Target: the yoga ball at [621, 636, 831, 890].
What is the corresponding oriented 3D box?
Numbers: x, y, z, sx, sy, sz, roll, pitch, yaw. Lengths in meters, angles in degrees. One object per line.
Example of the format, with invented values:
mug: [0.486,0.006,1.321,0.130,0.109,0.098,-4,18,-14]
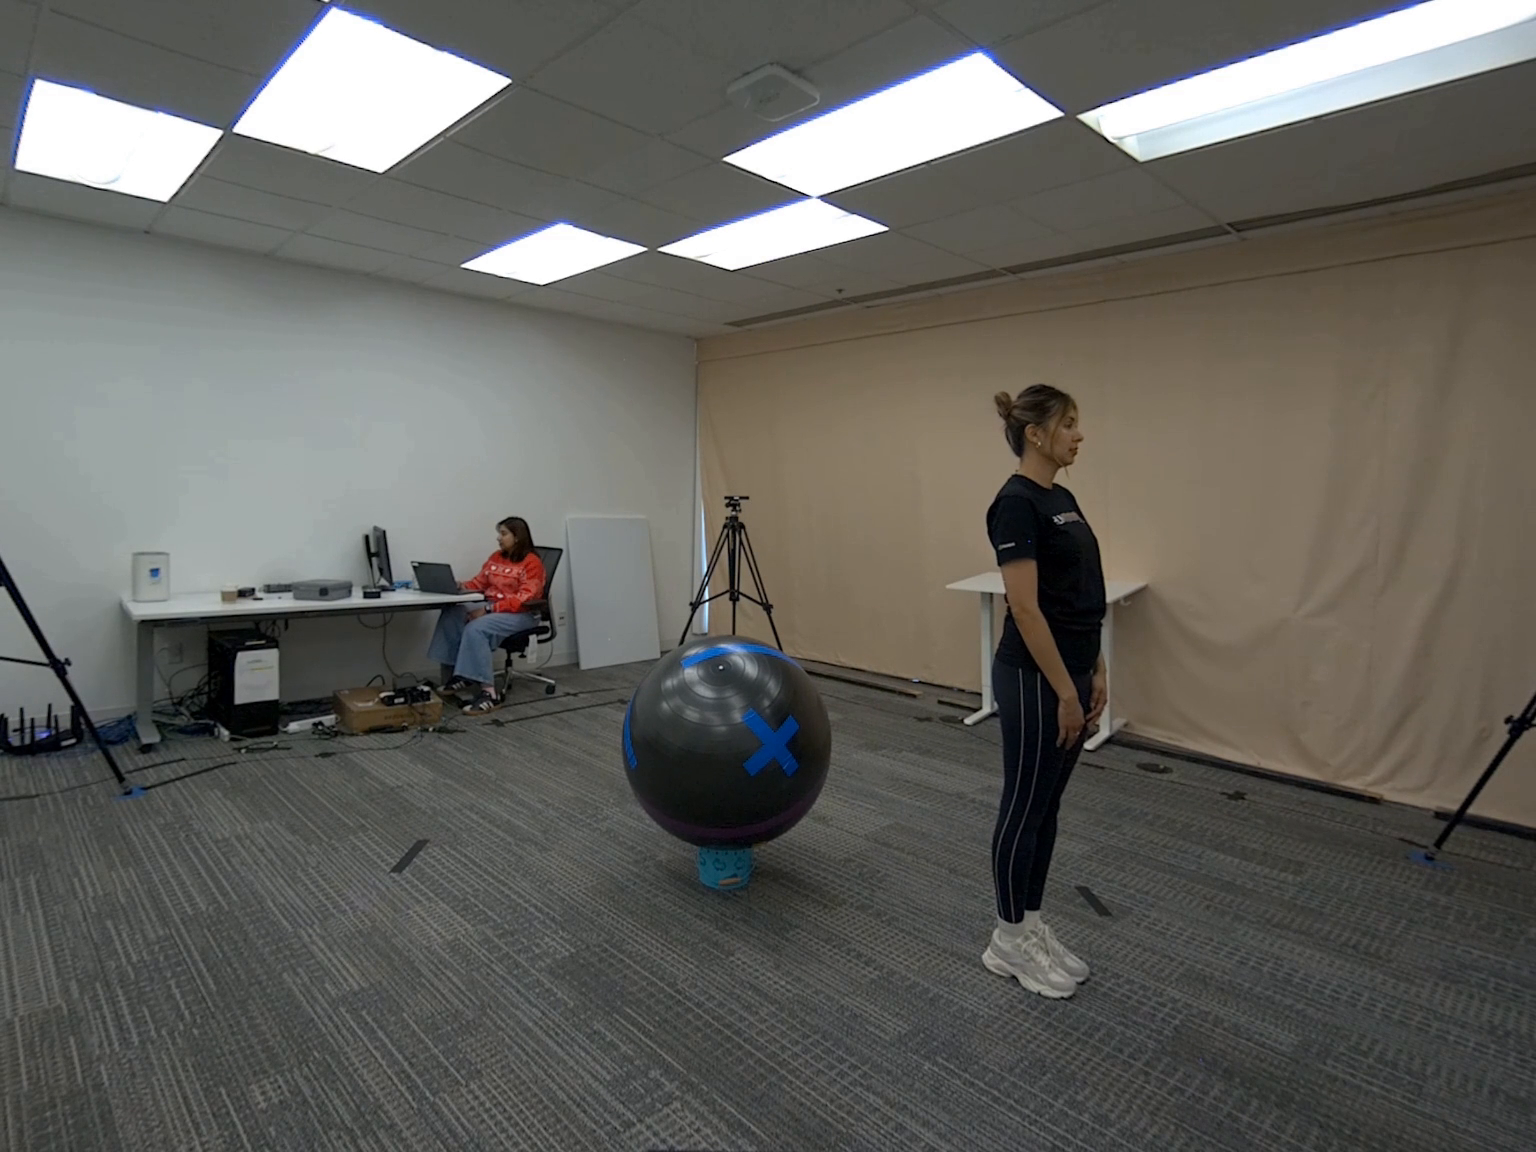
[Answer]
yoga ball: [-0.154,0.599,3.048,0.757,0.756,0.761,1,4,-1]
